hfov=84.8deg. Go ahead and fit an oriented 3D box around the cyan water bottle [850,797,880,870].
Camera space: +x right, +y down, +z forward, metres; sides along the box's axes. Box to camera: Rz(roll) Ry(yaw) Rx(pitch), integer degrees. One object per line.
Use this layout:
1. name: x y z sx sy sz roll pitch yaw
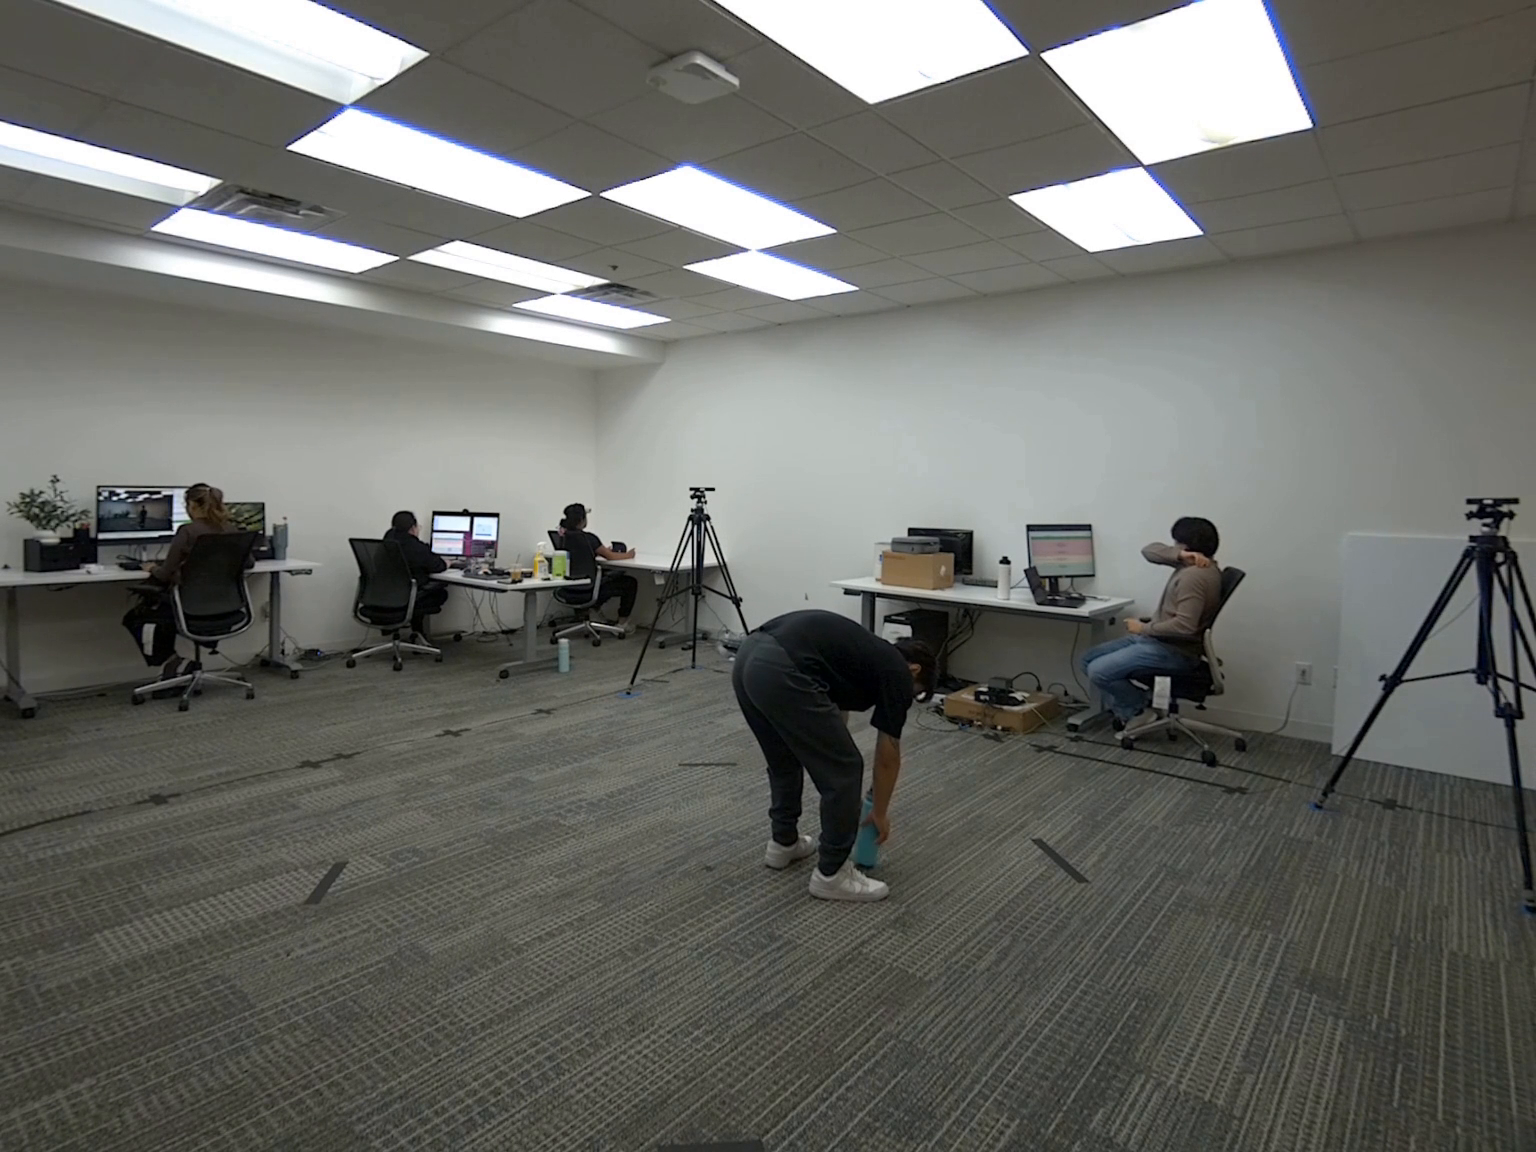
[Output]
1. cyan water bottle: 0.368 0.922 3.169 0.092 0.283 0.092 12 1 -2
